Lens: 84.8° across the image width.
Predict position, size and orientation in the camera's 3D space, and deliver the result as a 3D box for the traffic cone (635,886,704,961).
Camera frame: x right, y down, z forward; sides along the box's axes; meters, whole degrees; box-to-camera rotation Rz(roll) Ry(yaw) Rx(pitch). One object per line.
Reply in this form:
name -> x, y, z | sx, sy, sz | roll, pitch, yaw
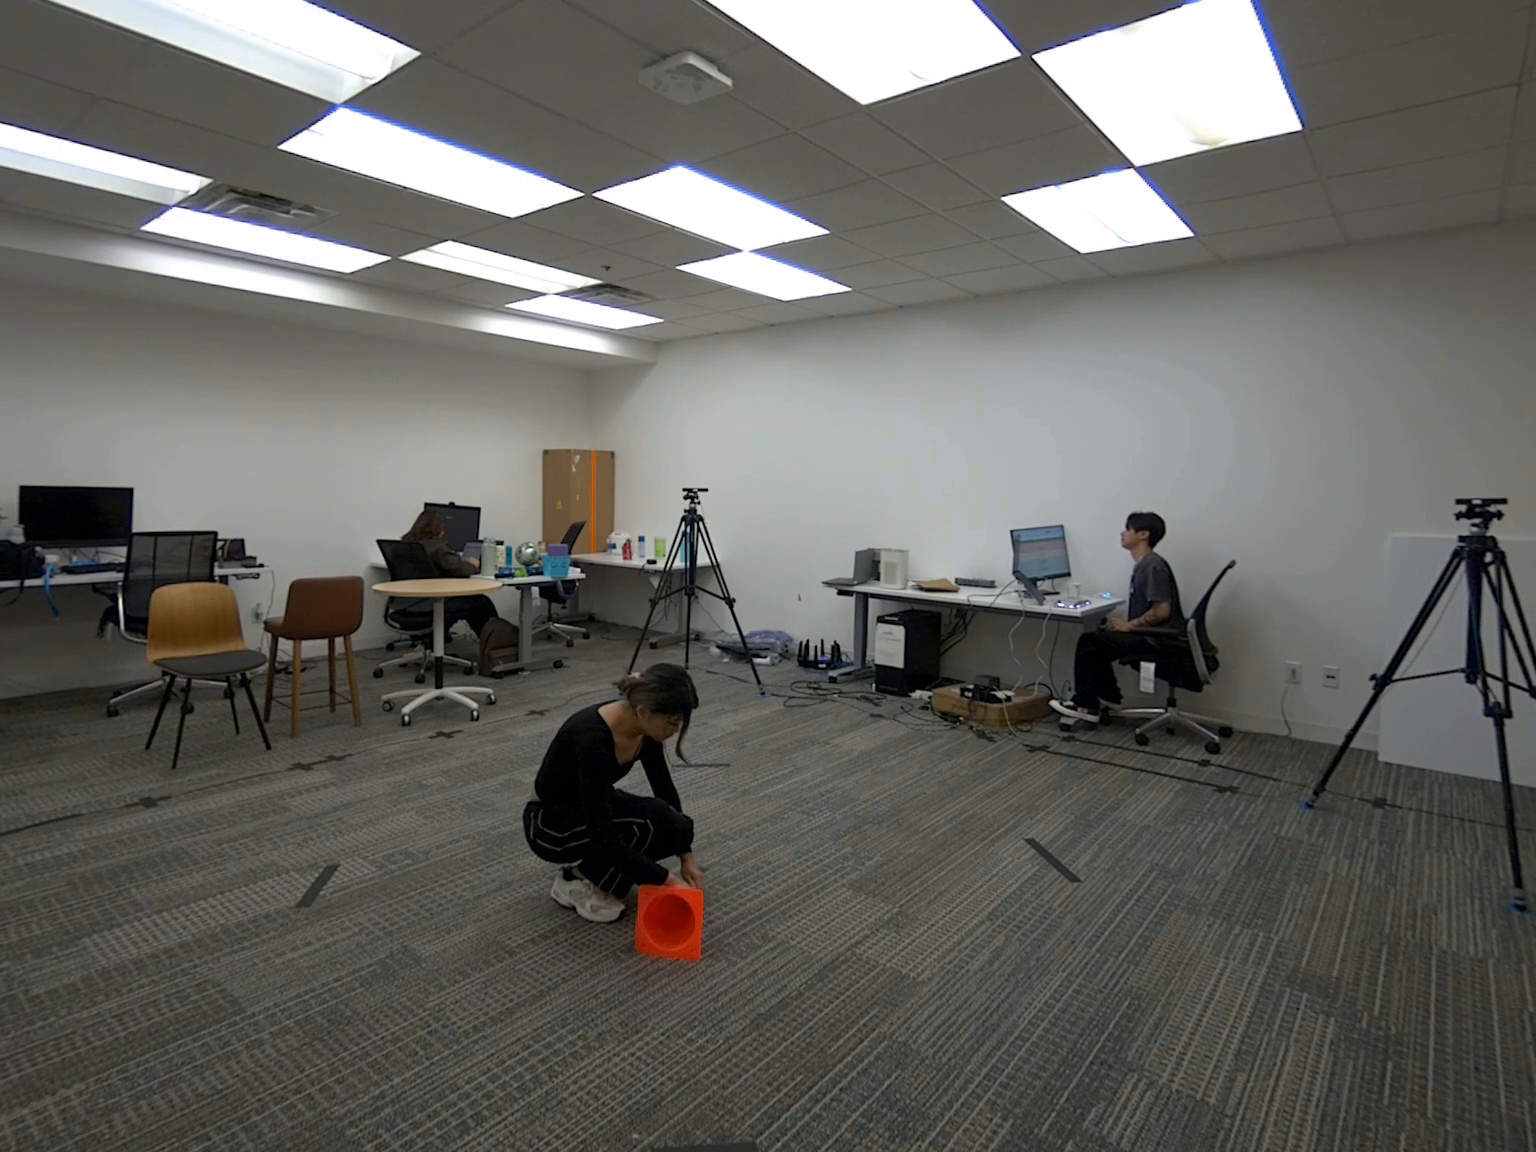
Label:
traffic cone -> -0.295, 1.039, 2.719 | 0.207, 0.204, 0.379 | 8, -3, 5
